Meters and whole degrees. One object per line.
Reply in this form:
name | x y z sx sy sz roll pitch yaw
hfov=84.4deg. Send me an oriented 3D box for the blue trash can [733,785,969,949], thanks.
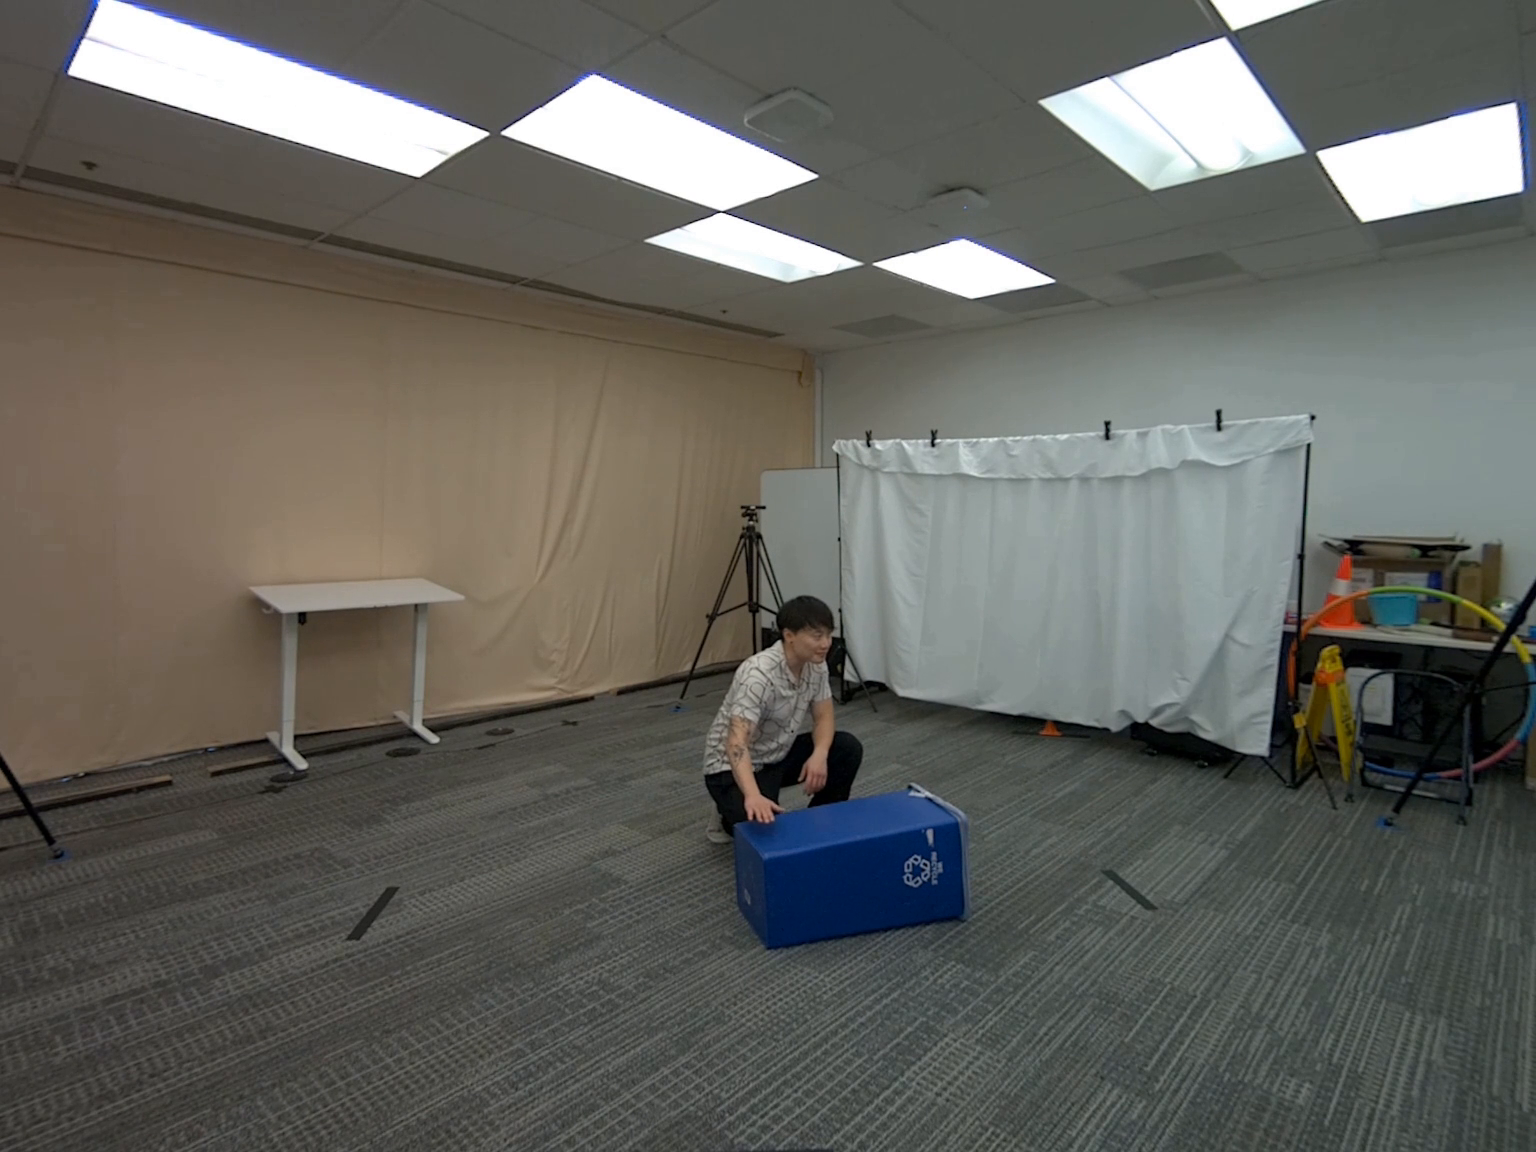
blue trash can | 0.276 0.982 2.871 0.702 0.373 0.385 -5 4 -17
